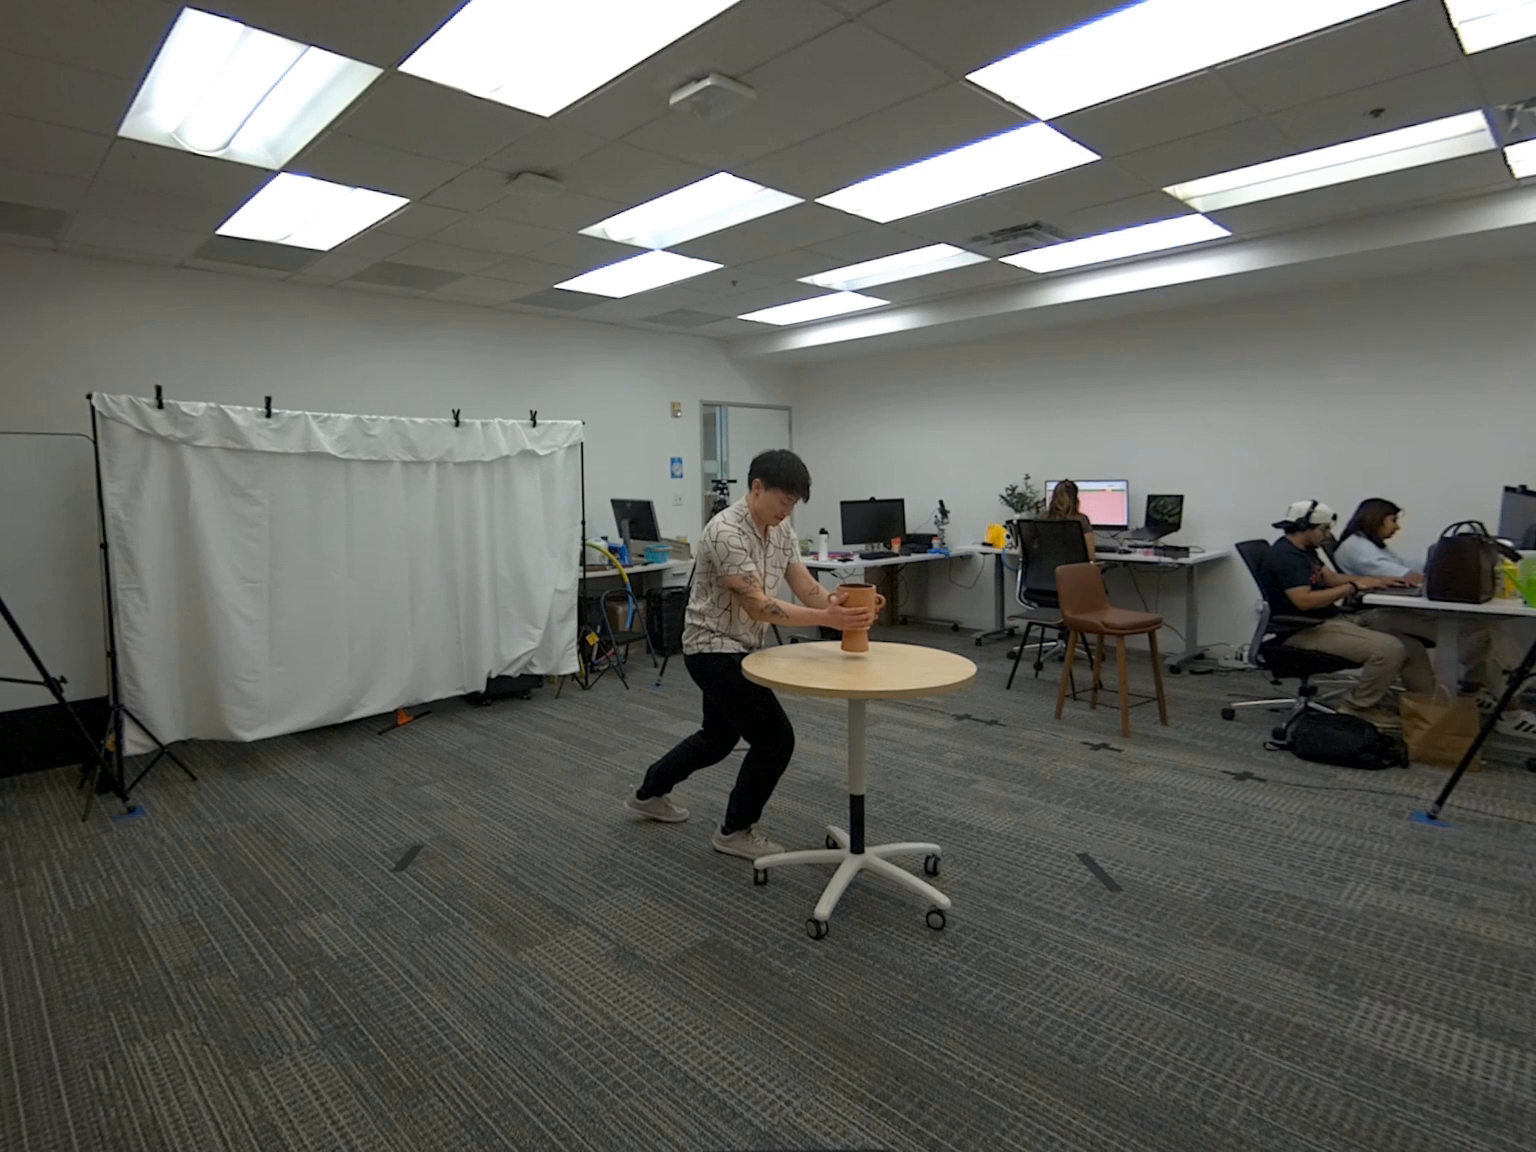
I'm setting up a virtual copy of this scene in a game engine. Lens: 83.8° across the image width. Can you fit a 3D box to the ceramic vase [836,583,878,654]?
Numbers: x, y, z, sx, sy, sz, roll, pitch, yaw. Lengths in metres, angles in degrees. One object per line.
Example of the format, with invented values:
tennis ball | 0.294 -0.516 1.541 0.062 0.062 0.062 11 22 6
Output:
ceramic vase | 0.298 0.144 2.914 0.131 0.219 0.164 -2 7 -36
